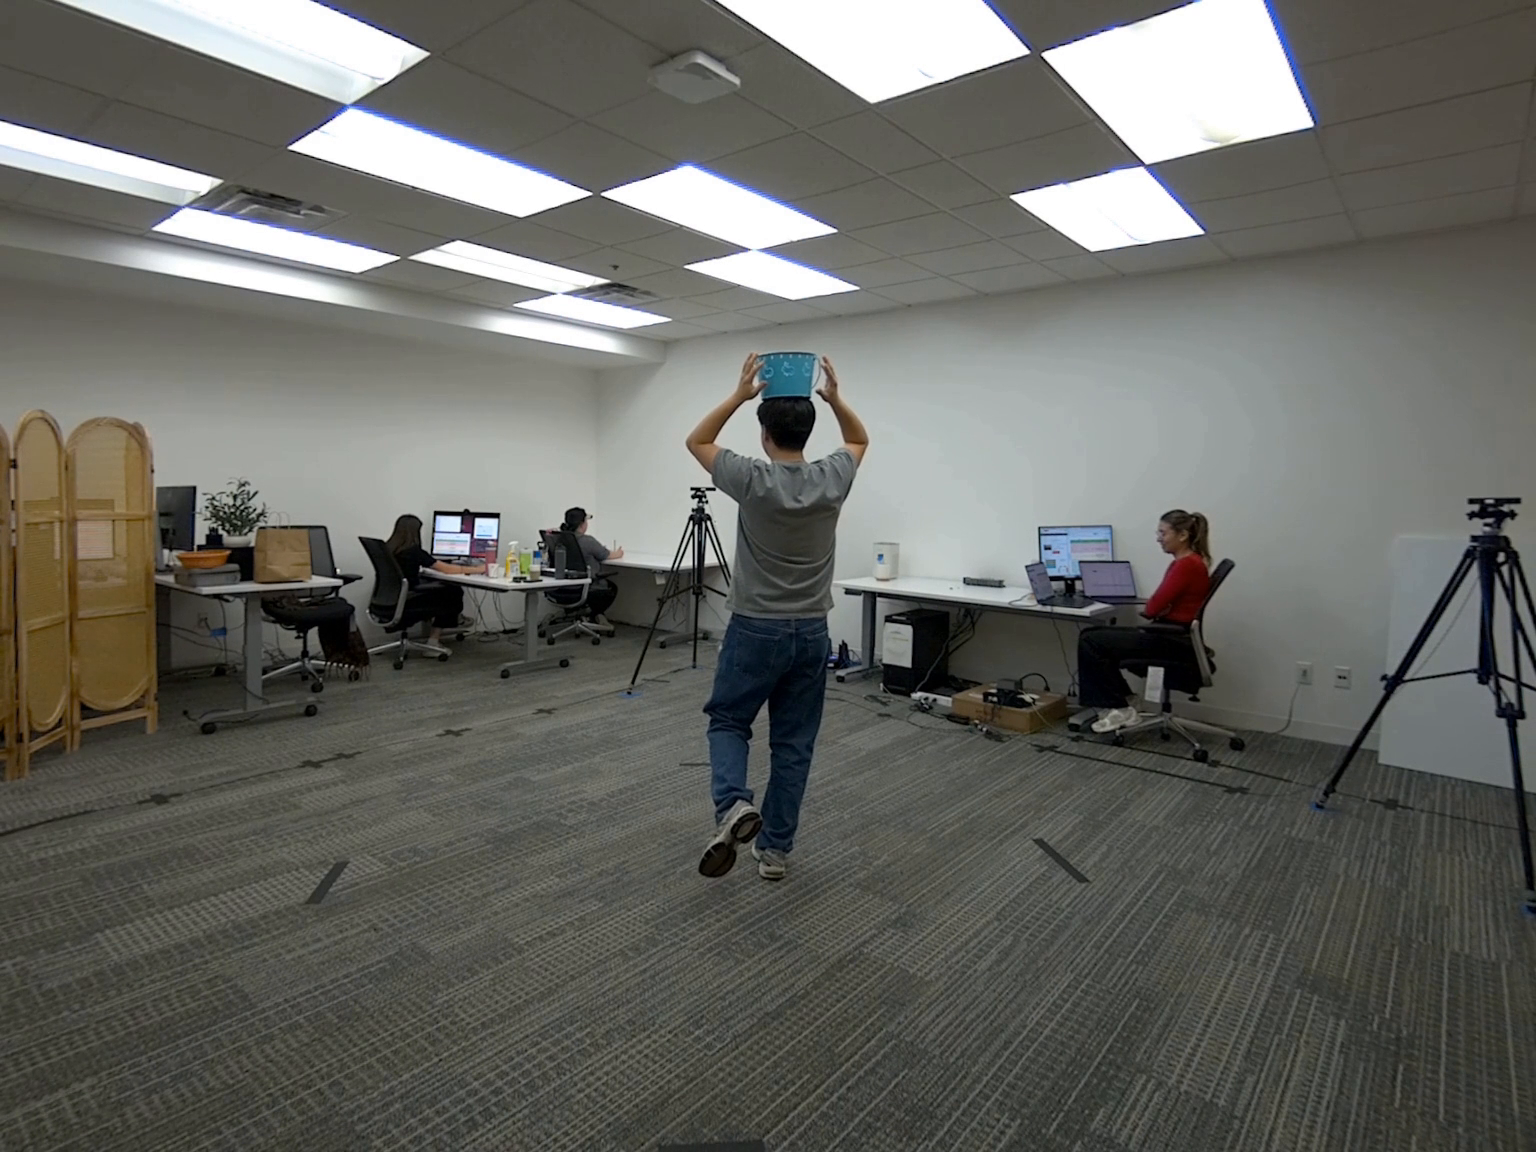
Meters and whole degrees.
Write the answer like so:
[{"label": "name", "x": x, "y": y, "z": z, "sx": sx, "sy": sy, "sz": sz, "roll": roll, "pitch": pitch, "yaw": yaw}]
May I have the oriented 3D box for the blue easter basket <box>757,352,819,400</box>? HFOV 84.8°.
[{"label": "blue easter basket", "x": 0.060, "y": -0.725, "z": 3.089, "sx": 0.243, "sy": 0.155, "sz": 0.245, "roll": -3, "pitch": 5, "yaw": -2}]
